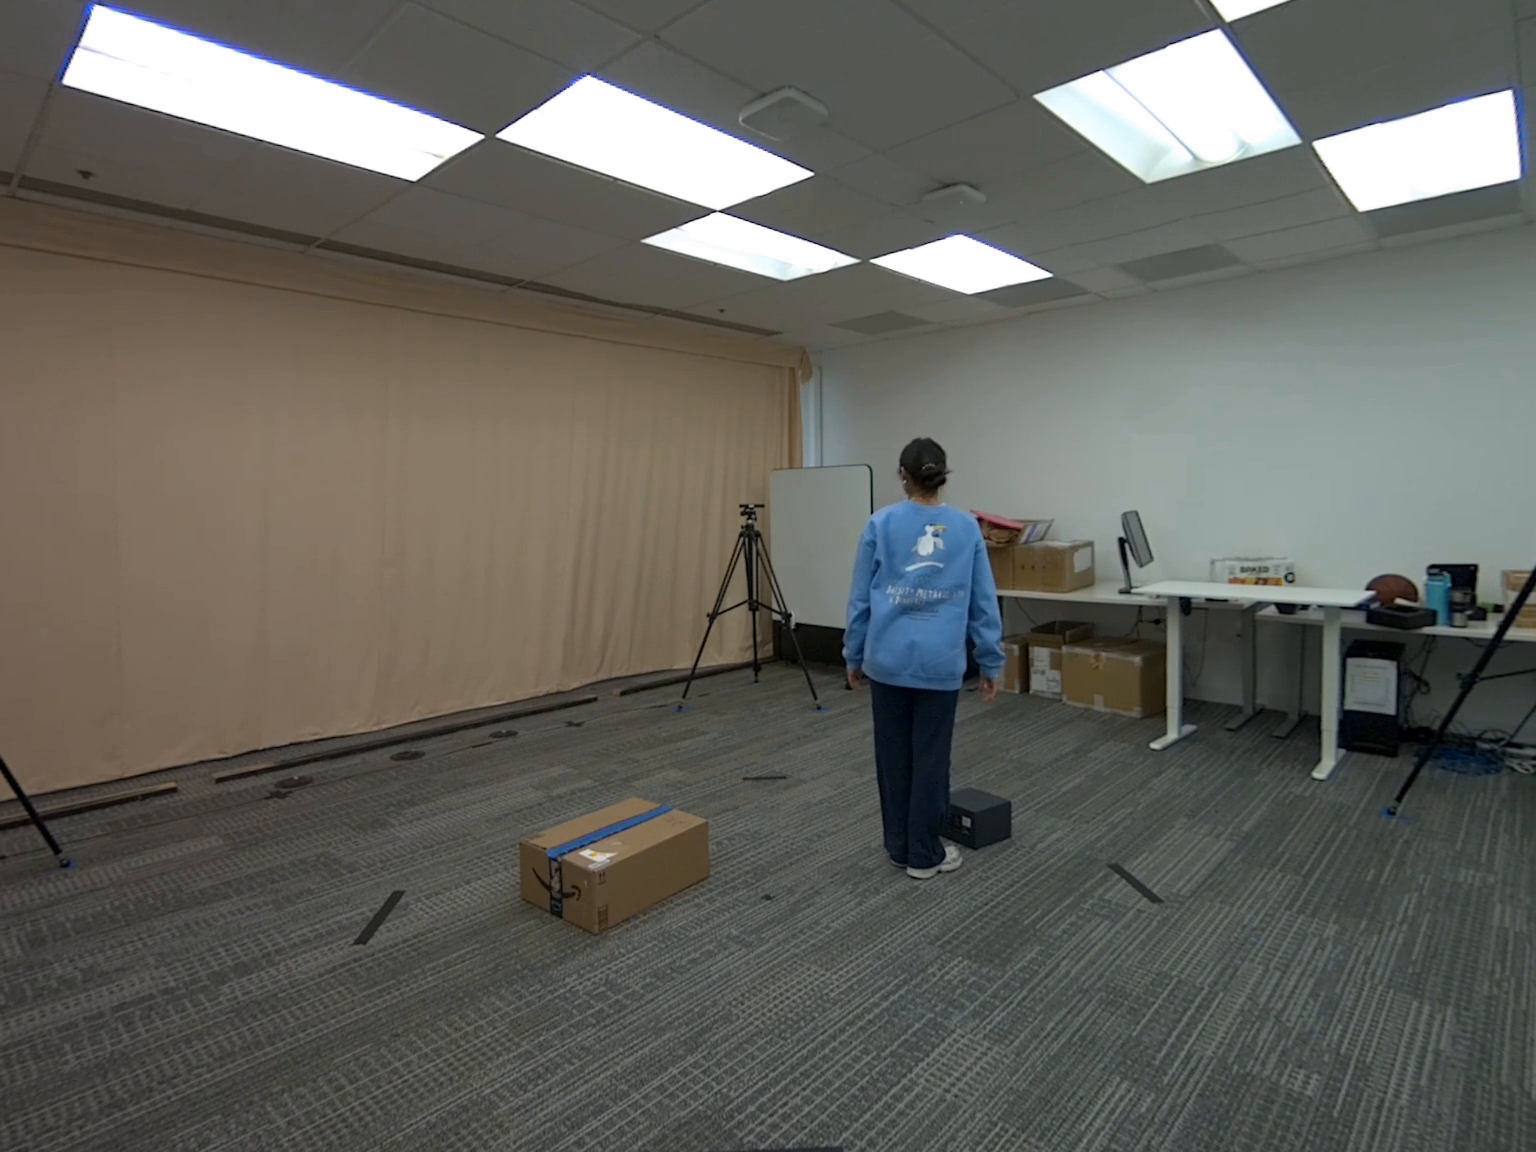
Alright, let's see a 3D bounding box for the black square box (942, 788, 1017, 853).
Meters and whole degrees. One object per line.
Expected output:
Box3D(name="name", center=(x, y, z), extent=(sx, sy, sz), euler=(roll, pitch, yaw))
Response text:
Box3D(name="black square box", center=(0.858, 1.000, 3.493), extent=(0.221, 0.155, 0.224), euler=(-4, 4, -36))
